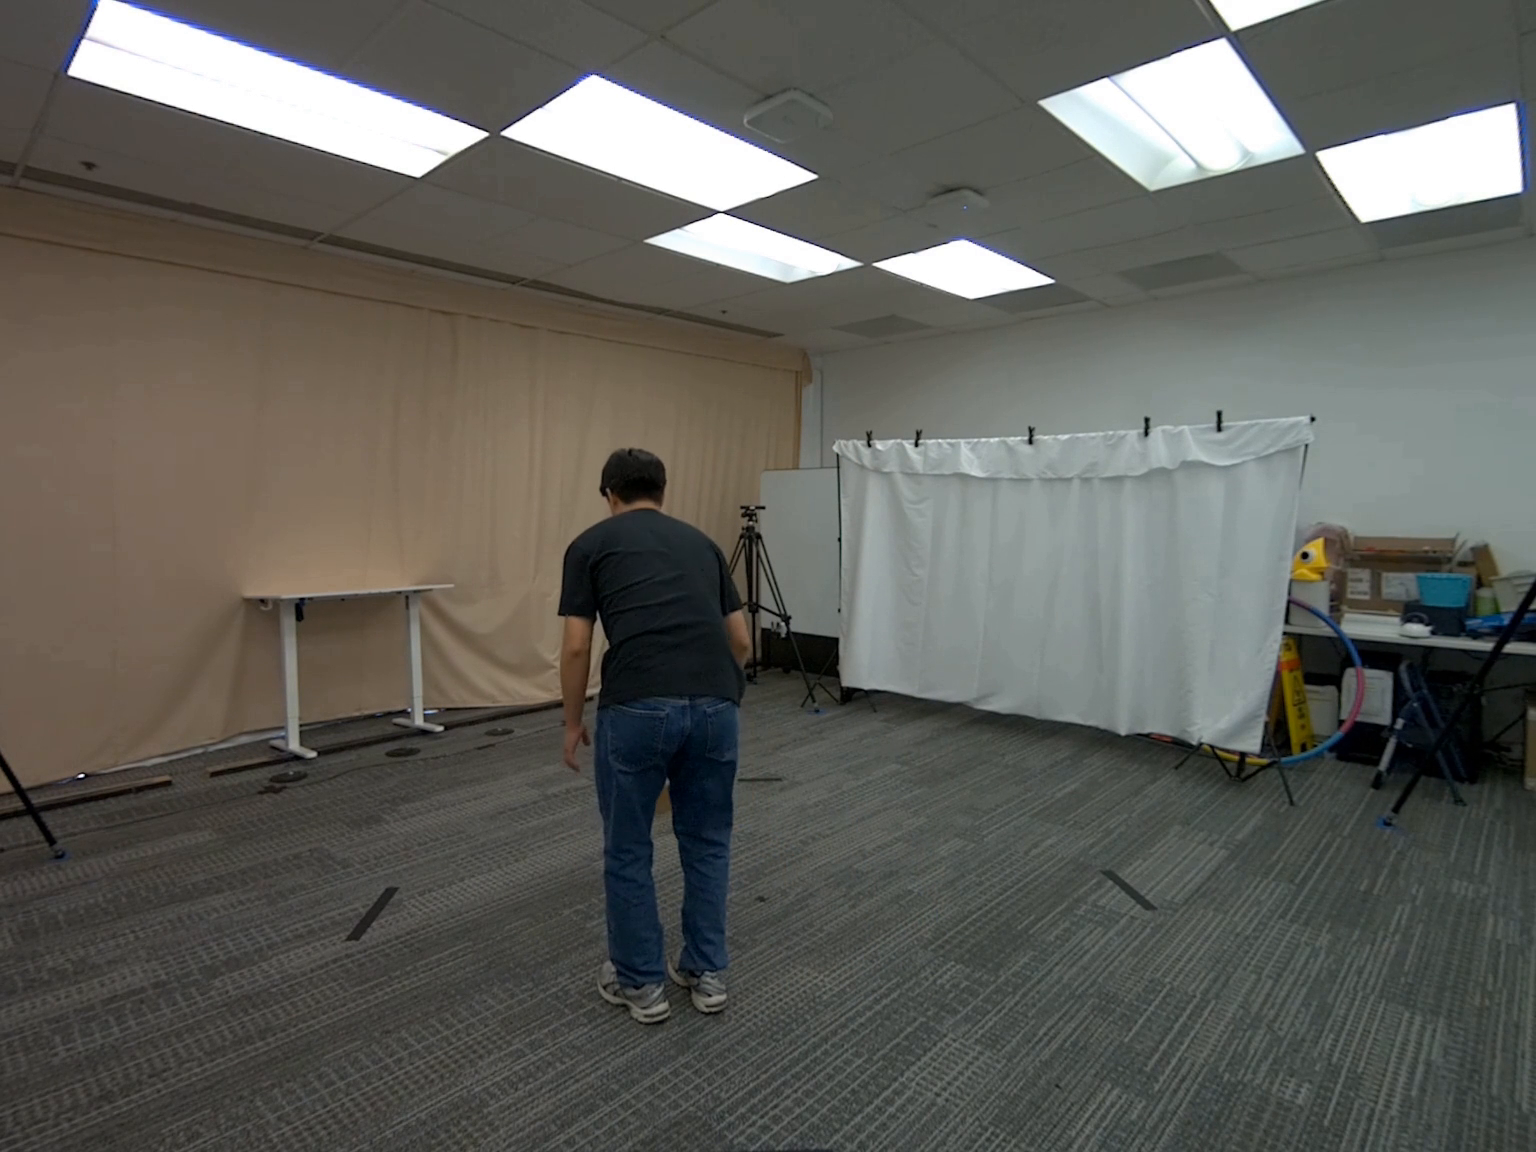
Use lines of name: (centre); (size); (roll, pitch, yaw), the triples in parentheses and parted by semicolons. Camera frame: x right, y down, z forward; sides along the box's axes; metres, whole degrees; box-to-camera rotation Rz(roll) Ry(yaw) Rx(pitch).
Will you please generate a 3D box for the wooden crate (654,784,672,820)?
wooden crate: (-0.313, 0.583, 2.788); (0.297, 0.271, 0.332); (-11, 10, -17)
